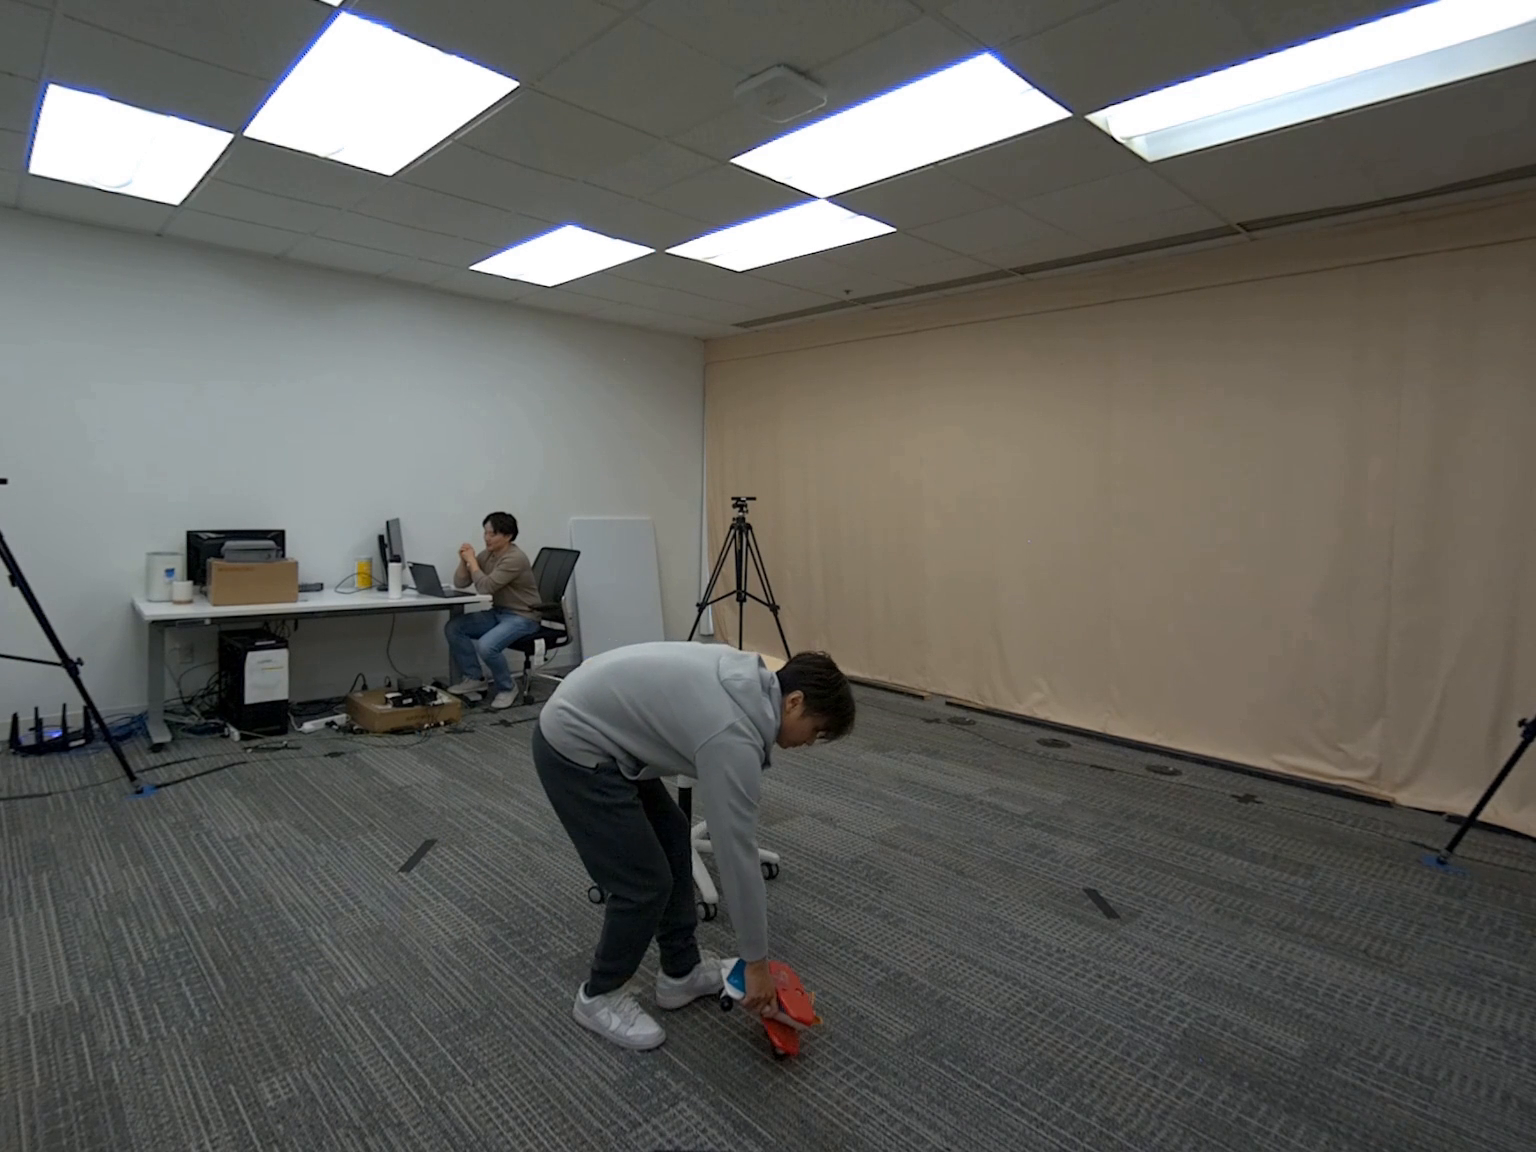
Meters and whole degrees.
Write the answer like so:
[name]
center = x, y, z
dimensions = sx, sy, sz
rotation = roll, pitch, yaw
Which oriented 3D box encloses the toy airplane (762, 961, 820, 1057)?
[toy airplane]
center = 0.001, 1.092, 2.111
dimensions = 0.251, 0.156, 0.259
rotation = 47, -6, -40
